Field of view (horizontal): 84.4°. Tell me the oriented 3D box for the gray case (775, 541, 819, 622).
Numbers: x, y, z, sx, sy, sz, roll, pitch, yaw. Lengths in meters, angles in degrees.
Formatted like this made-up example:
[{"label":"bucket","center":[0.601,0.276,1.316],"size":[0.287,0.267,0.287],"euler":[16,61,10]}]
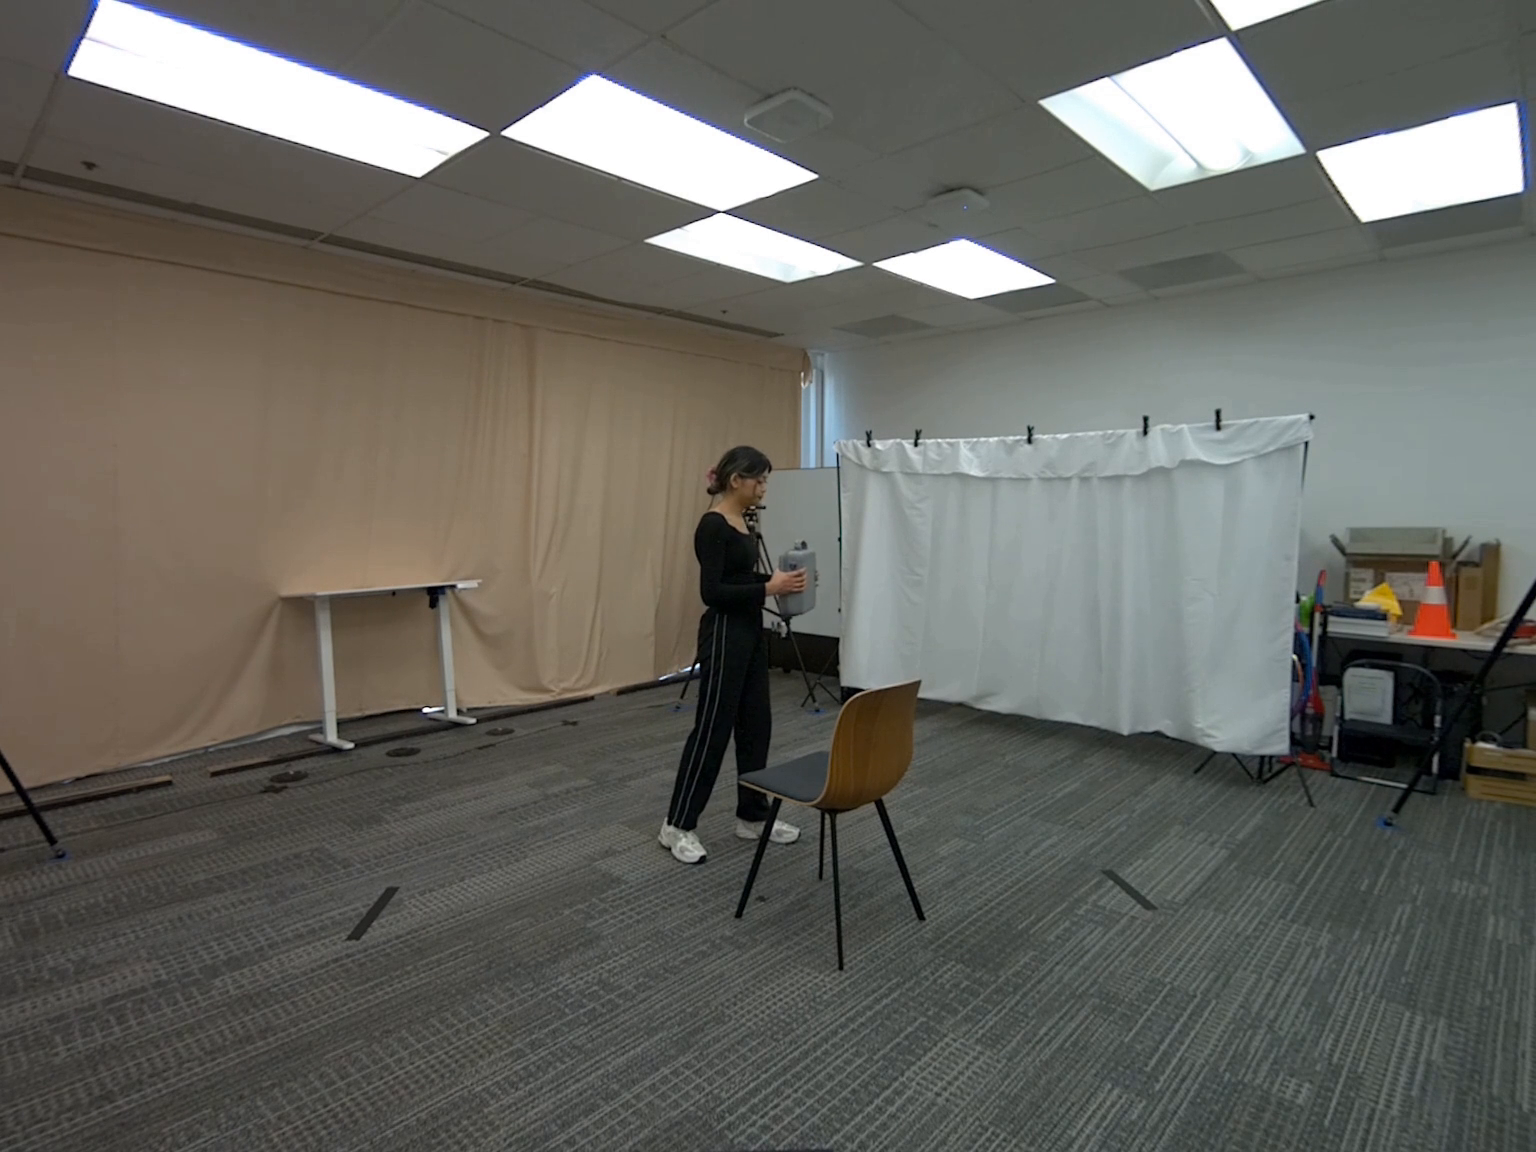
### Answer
[{"label":"gray case","center":[0.123,0.019,3.370],"size":[0.106,0.260,0.252],"euler":[5,5,18]}]
